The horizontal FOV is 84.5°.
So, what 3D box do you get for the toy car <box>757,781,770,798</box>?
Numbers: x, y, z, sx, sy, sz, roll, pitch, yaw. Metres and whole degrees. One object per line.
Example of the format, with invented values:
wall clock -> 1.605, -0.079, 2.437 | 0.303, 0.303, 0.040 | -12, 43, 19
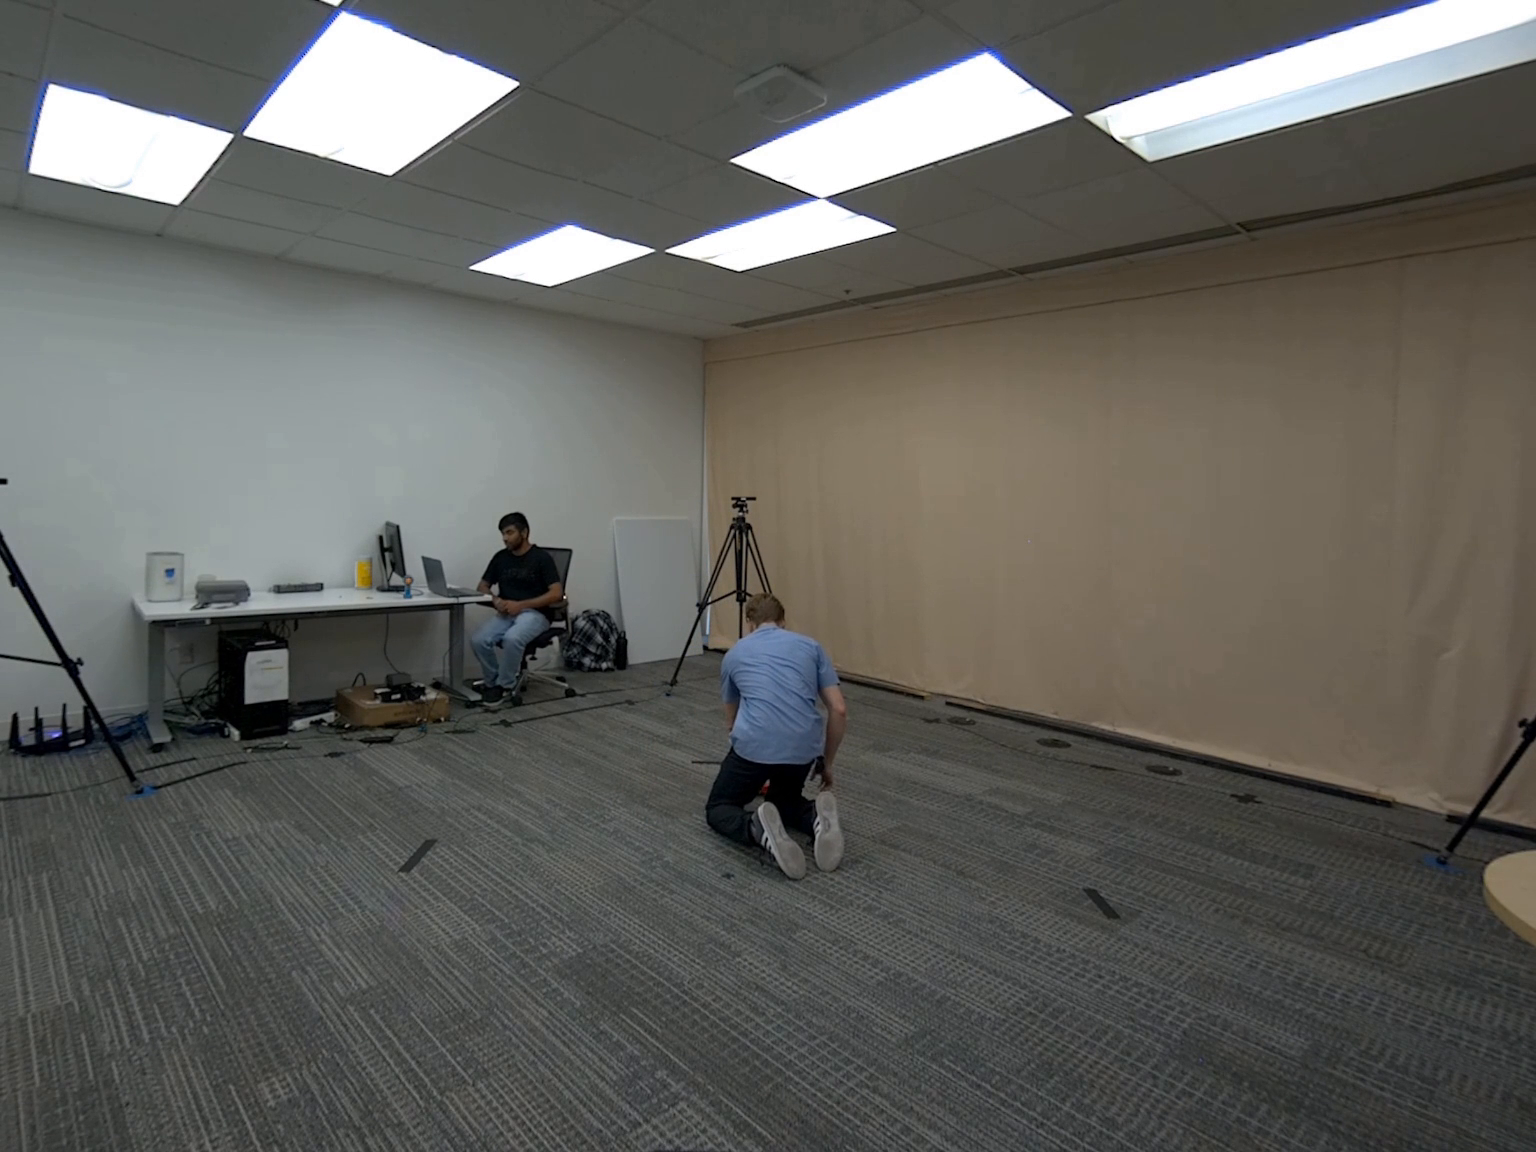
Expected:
toy car -> -0.101, 1.001, 4.033 | 0.128, 0.083, 0.258 | -1, -5, -26
